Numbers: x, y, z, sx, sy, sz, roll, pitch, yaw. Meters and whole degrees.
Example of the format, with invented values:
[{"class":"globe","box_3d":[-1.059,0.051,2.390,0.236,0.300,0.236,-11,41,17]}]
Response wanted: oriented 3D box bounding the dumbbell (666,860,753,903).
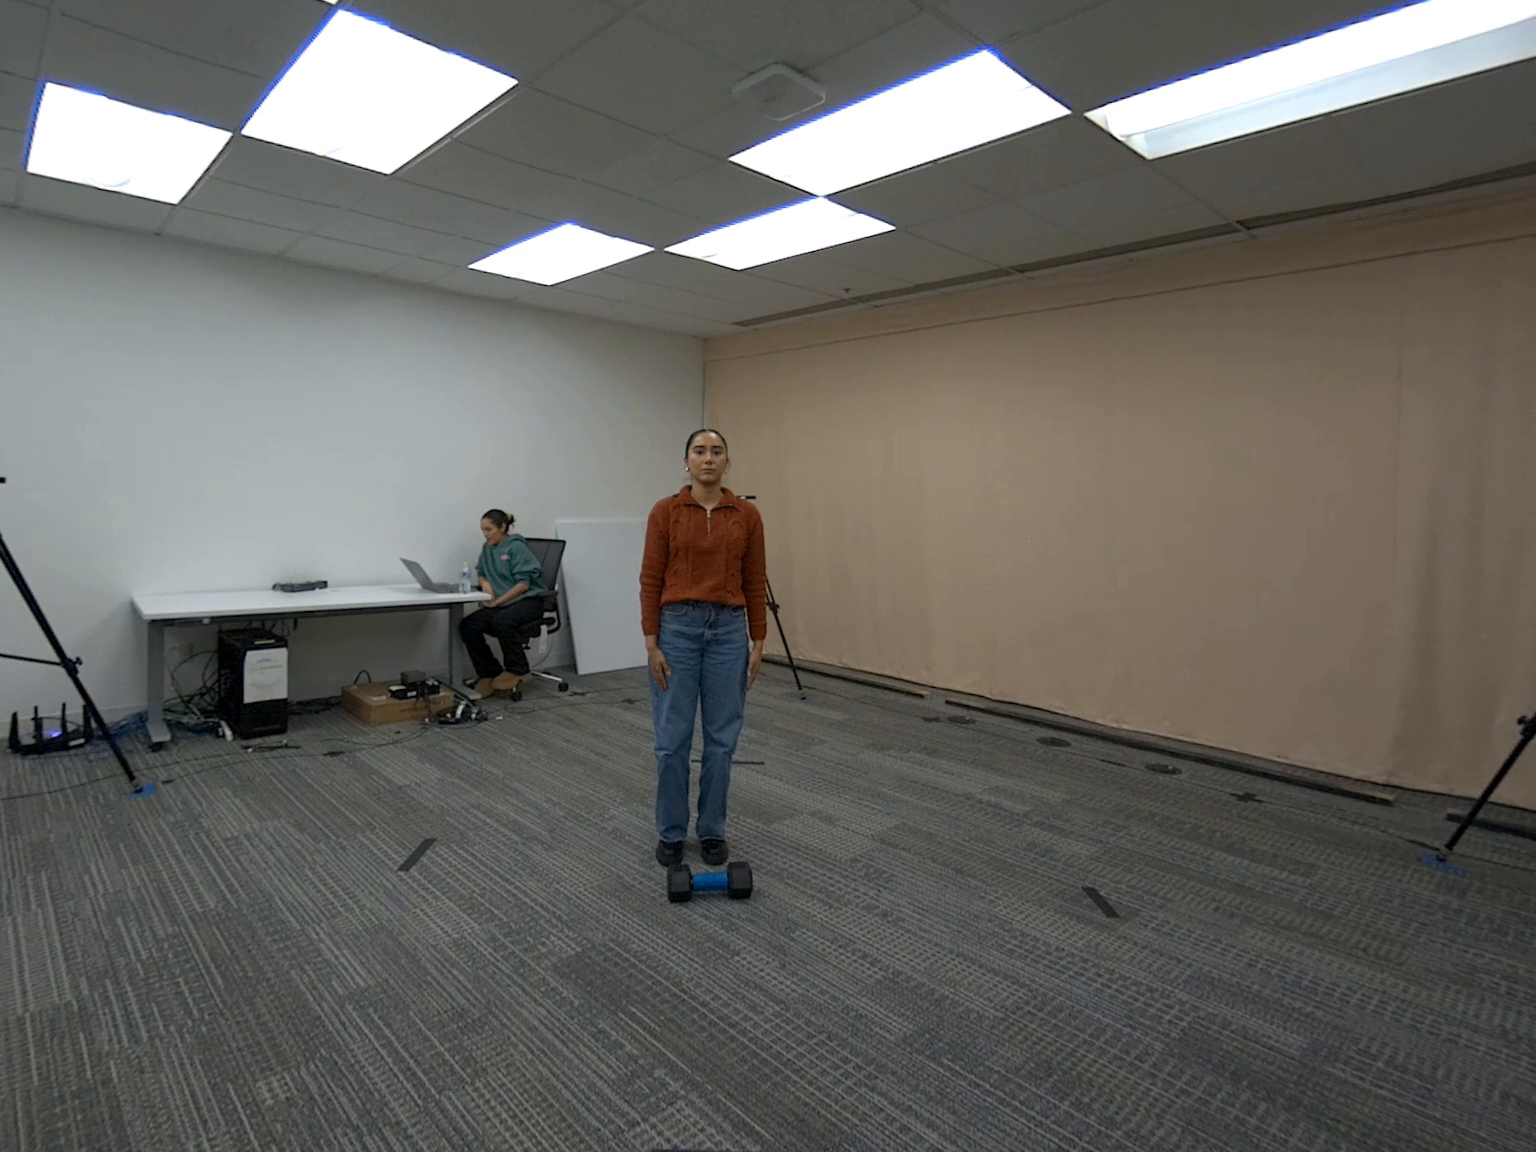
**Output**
[{"class":"dumbbell","box_3d":[-0.209,1.065,2.924,0.291,0.108,0.124,0,2,-8]}]
